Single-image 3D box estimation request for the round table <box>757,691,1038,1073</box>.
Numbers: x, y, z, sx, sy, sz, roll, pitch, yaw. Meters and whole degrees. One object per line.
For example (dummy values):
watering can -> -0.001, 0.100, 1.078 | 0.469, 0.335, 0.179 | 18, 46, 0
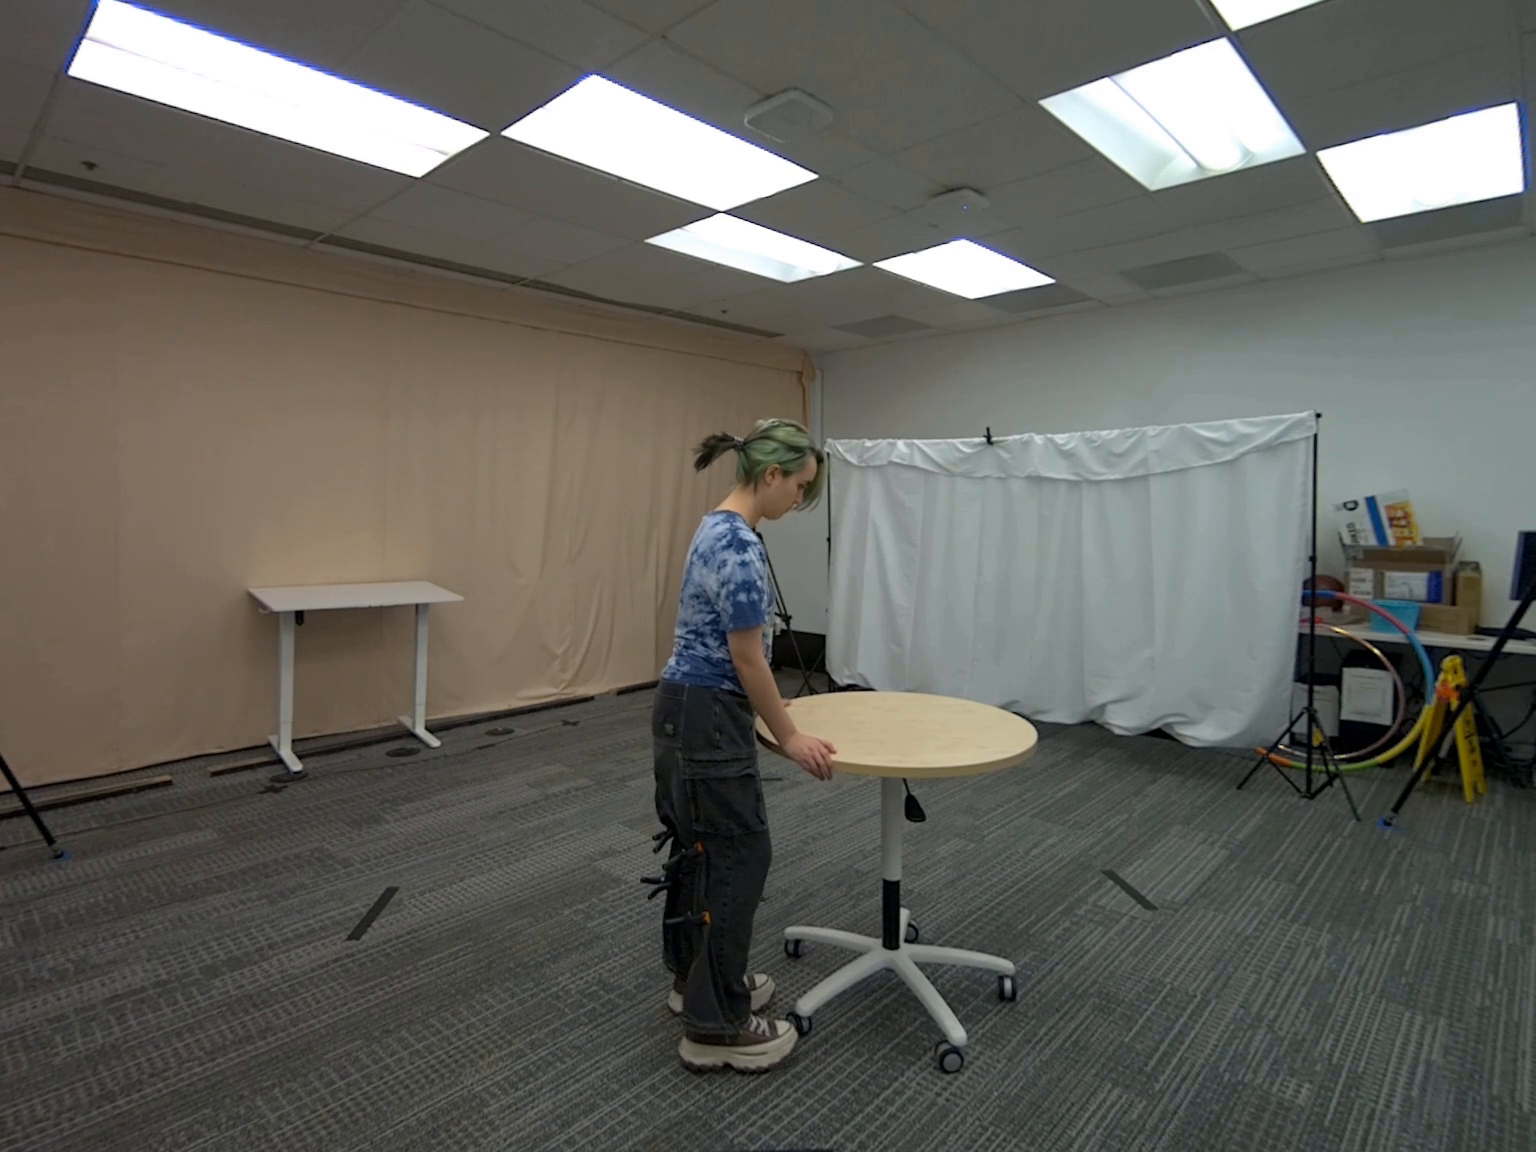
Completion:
round table -> 0.357, 0.806, 2.380 | 0.763, 0.792, 0.766 | -1, 4, -2
